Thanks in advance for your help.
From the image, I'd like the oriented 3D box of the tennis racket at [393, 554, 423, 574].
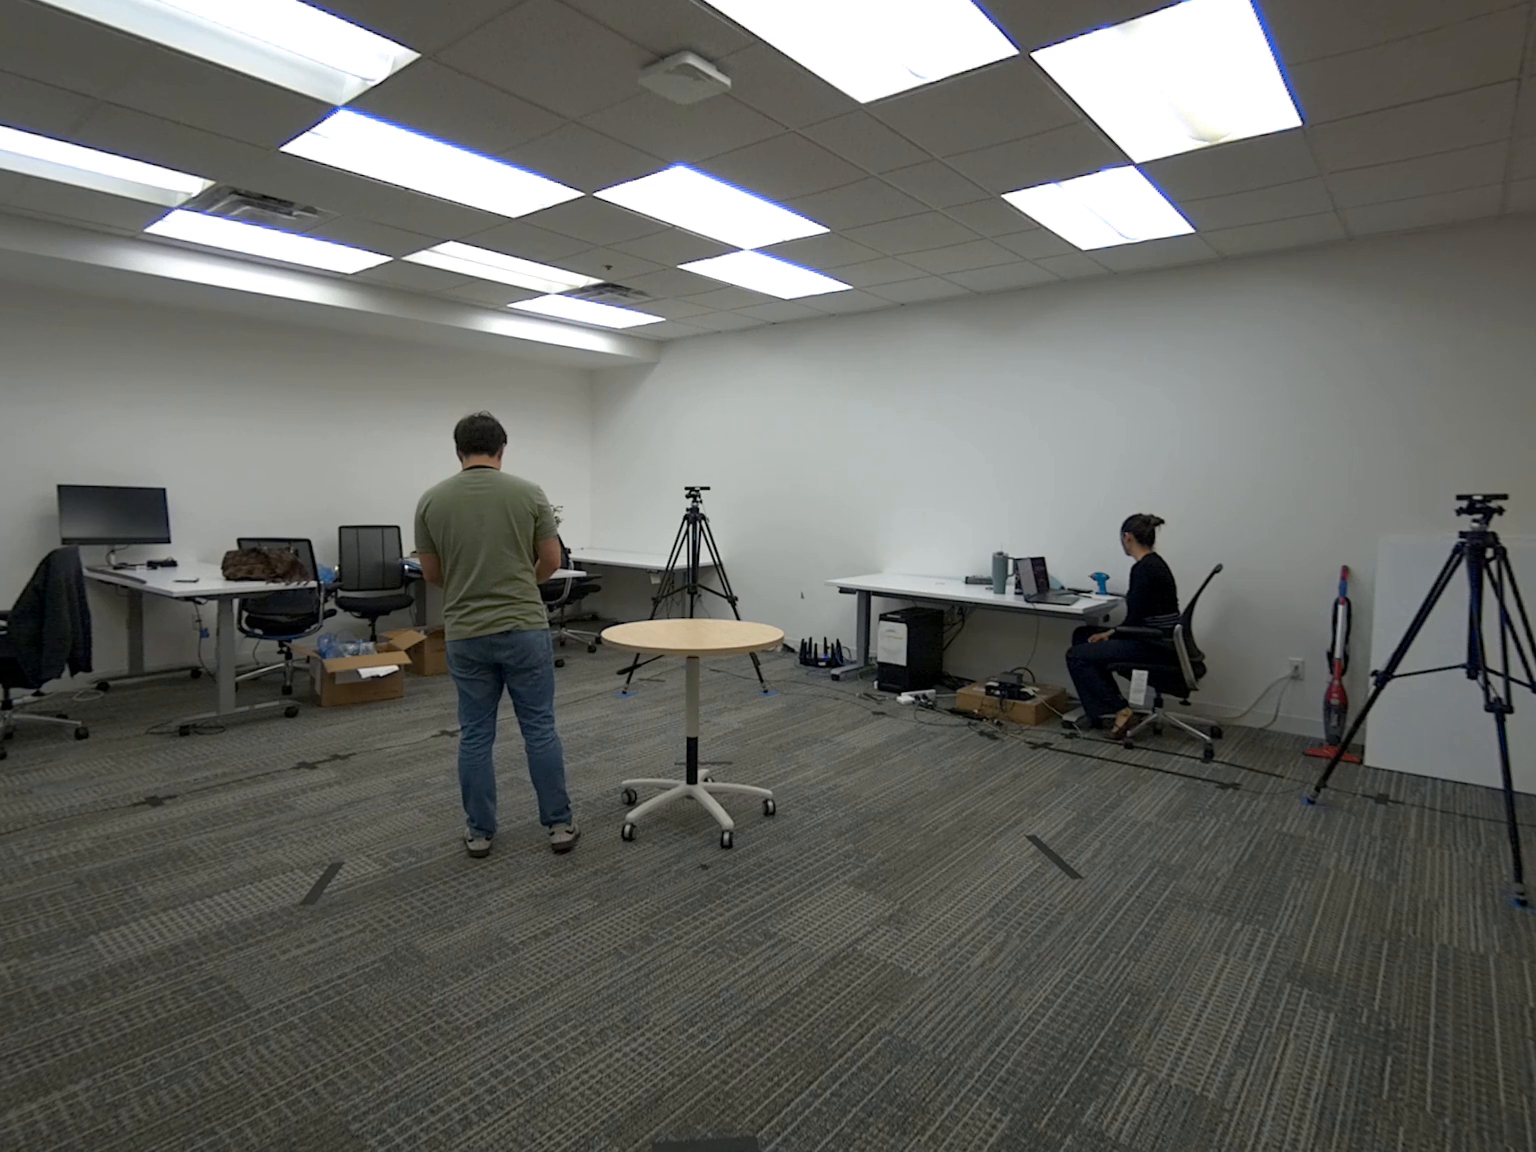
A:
[{"bbox_3d":[-1.350,0.008,3.575,0.441,0.032,0.209,20,-3,14],"label":"tennis racket"}]
